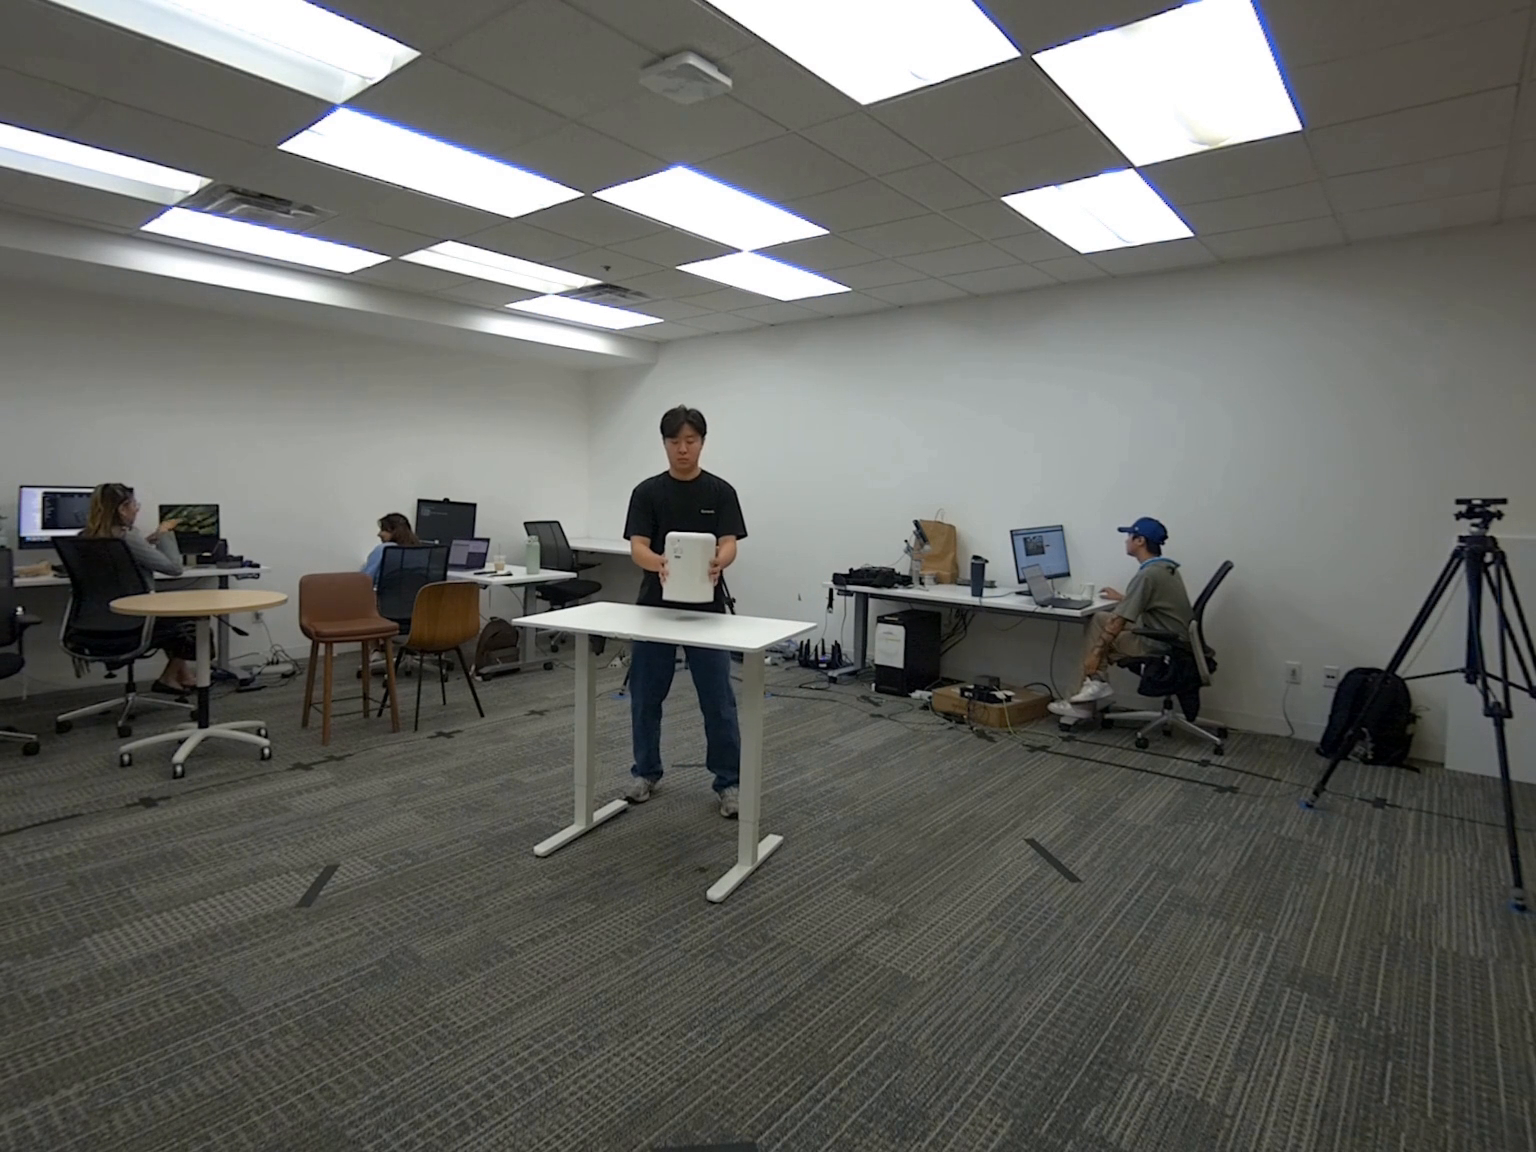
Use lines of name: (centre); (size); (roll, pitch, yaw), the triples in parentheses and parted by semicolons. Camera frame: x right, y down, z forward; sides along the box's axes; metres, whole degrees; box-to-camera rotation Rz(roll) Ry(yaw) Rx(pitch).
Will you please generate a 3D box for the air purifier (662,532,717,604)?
air purifier: (-0.314, -0.040, 3.320); (0.175, 0.265, 0.168); (3, 2, 19)
